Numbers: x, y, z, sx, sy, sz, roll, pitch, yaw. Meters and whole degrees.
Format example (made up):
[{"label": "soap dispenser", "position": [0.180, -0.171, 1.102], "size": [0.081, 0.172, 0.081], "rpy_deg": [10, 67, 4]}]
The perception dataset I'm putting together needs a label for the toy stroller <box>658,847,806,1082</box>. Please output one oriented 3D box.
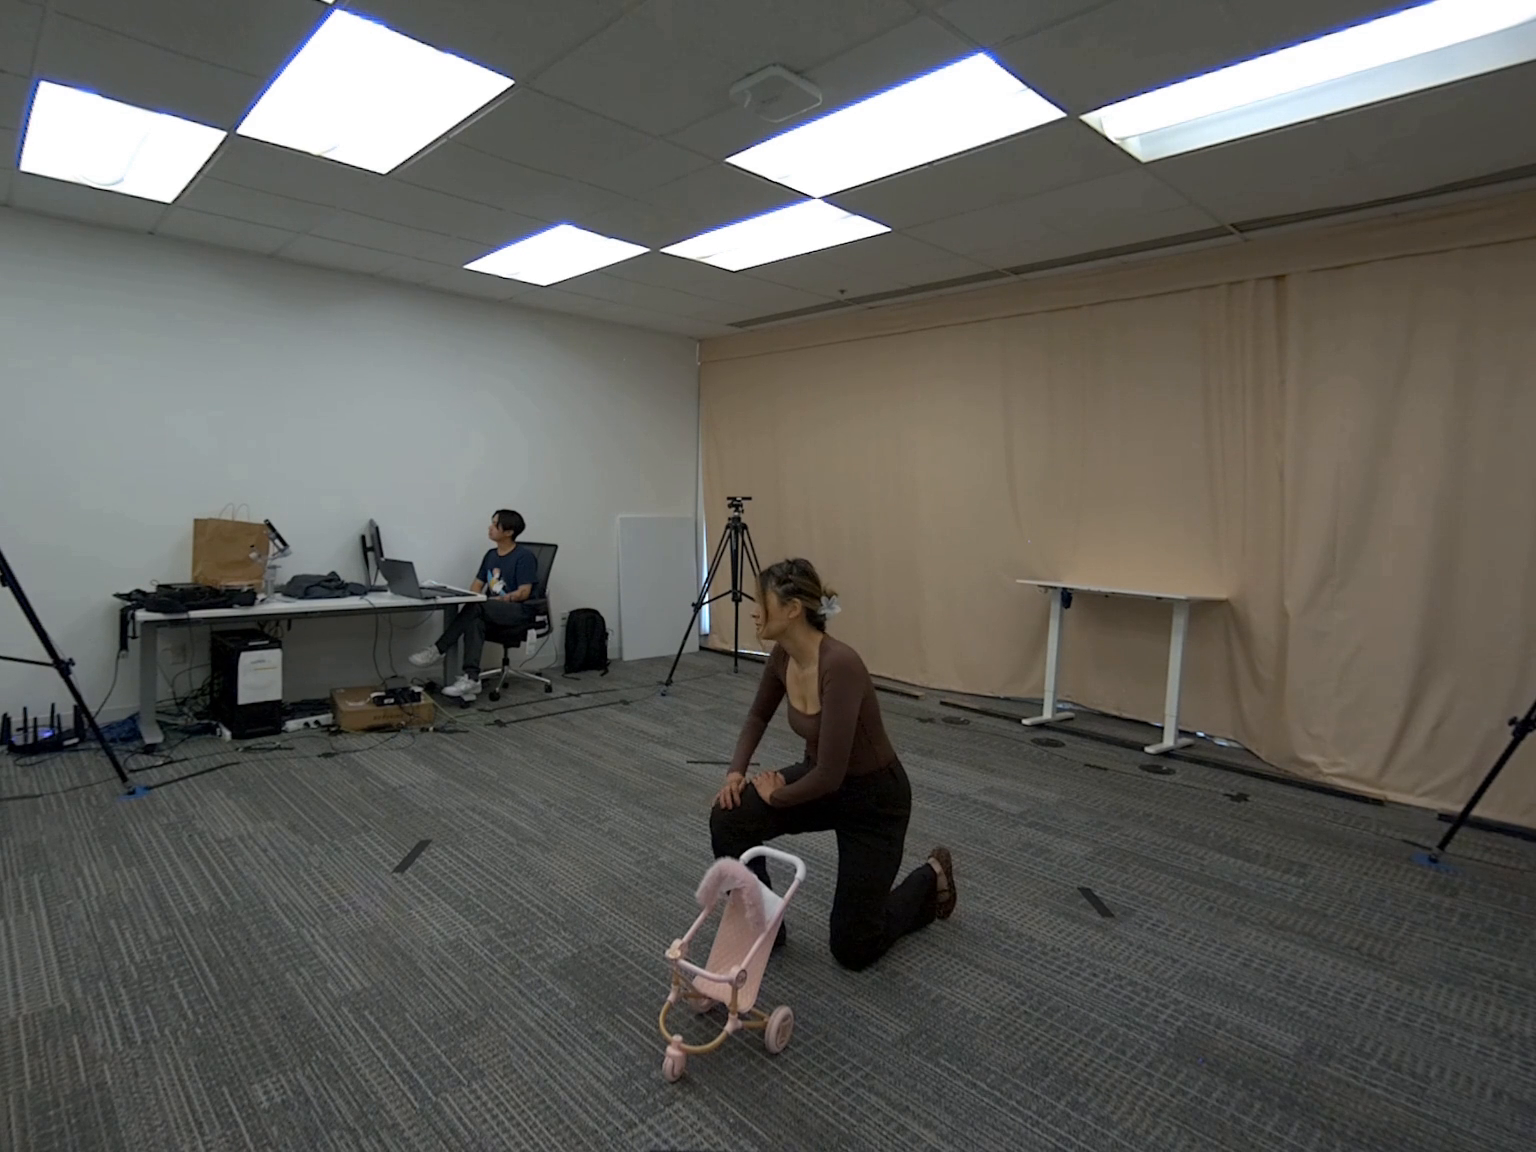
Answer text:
[{"label": "toy stroller", "position": [-0.115, 0.976, 2.143], "size": [0.288, 0.538, 0.331], "rpy_deg": [4, -13, 42]}]
